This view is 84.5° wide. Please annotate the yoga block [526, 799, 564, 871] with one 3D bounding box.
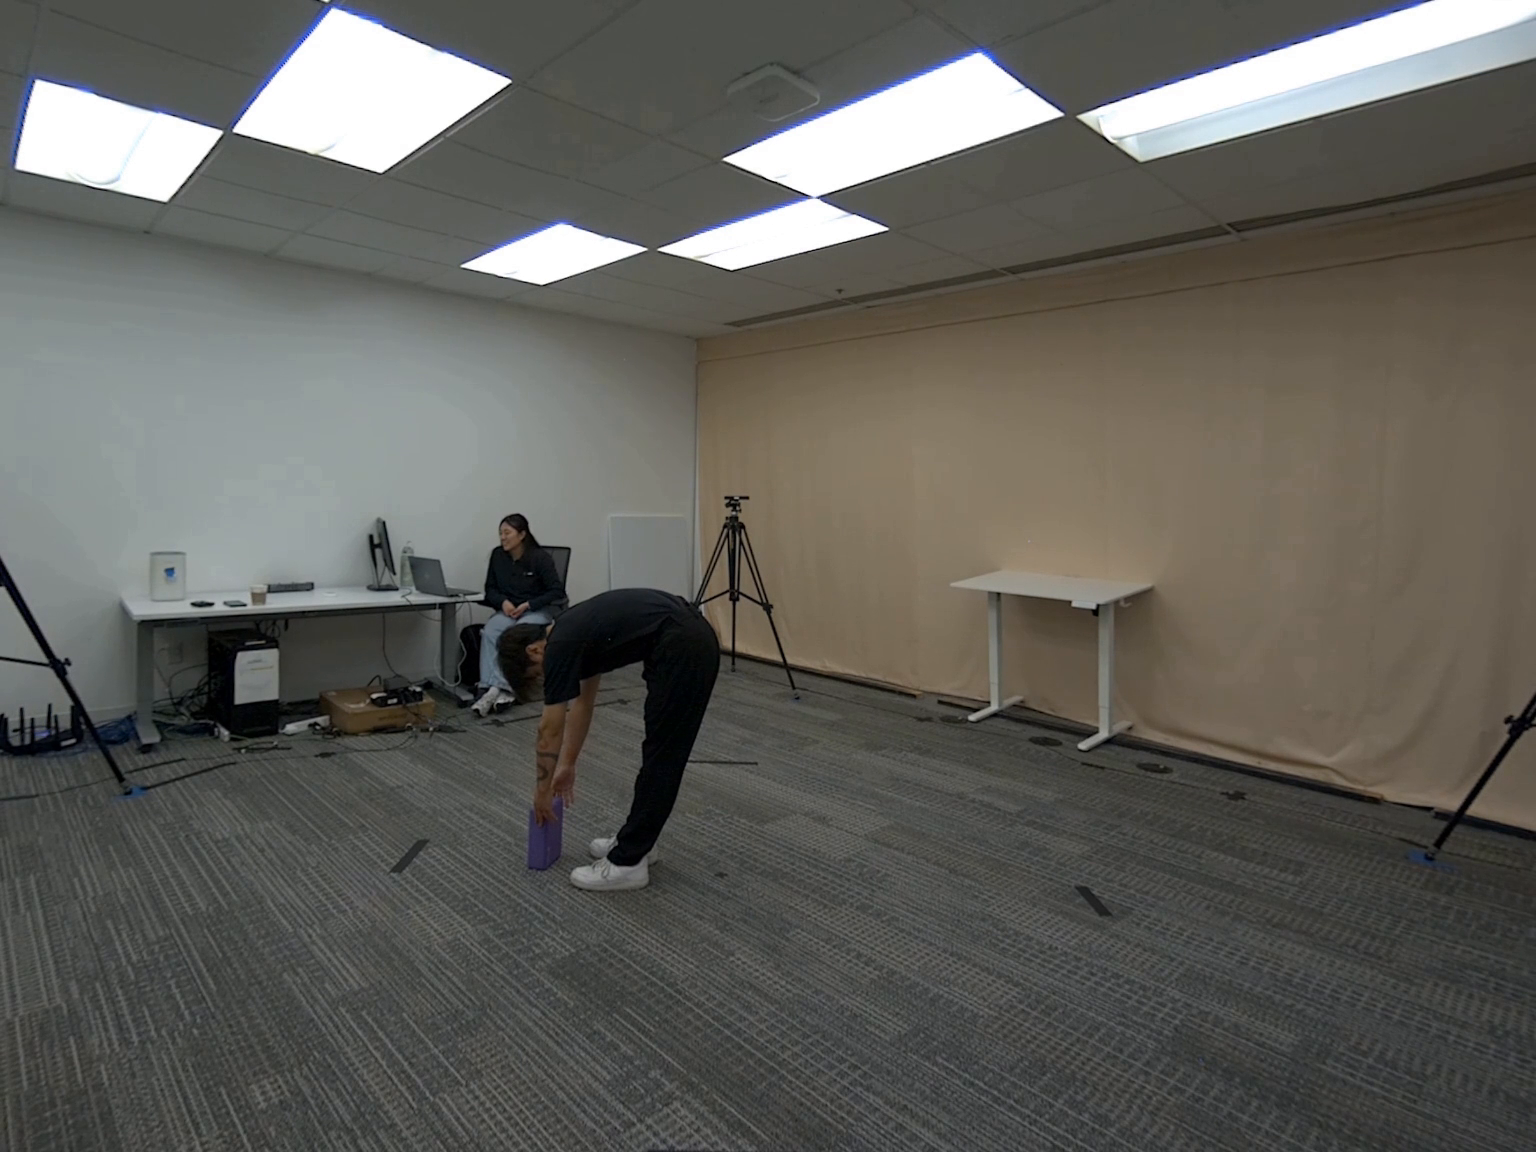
[{"bbox_3d":[-0.839,0.964,3.170,0.077,0.229,0.148,1,3,10],"label":"yoga block"}]
